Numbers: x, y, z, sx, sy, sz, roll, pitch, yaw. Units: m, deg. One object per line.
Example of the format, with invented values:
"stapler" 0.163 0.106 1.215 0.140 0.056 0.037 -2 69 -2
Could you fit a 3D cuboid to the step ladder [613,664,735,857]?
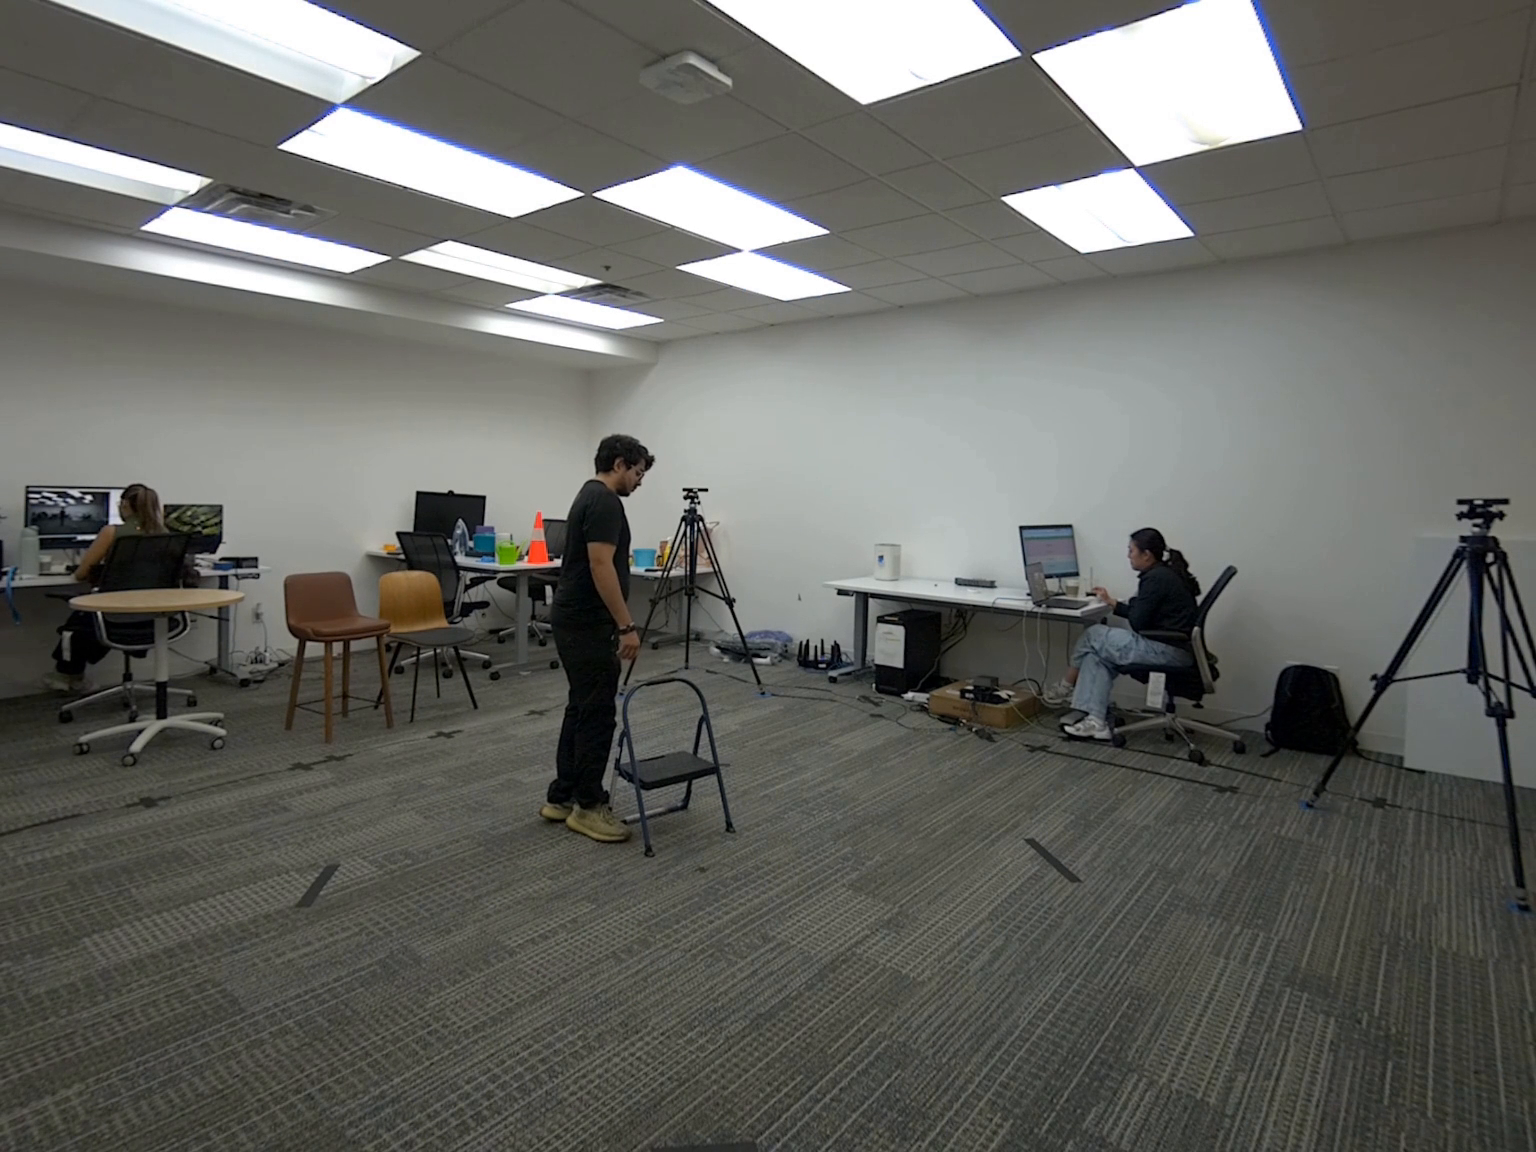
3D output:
"step ladder" -0.404 0.733 3.447 0.418 0.605 0.361 -2 4 -39
